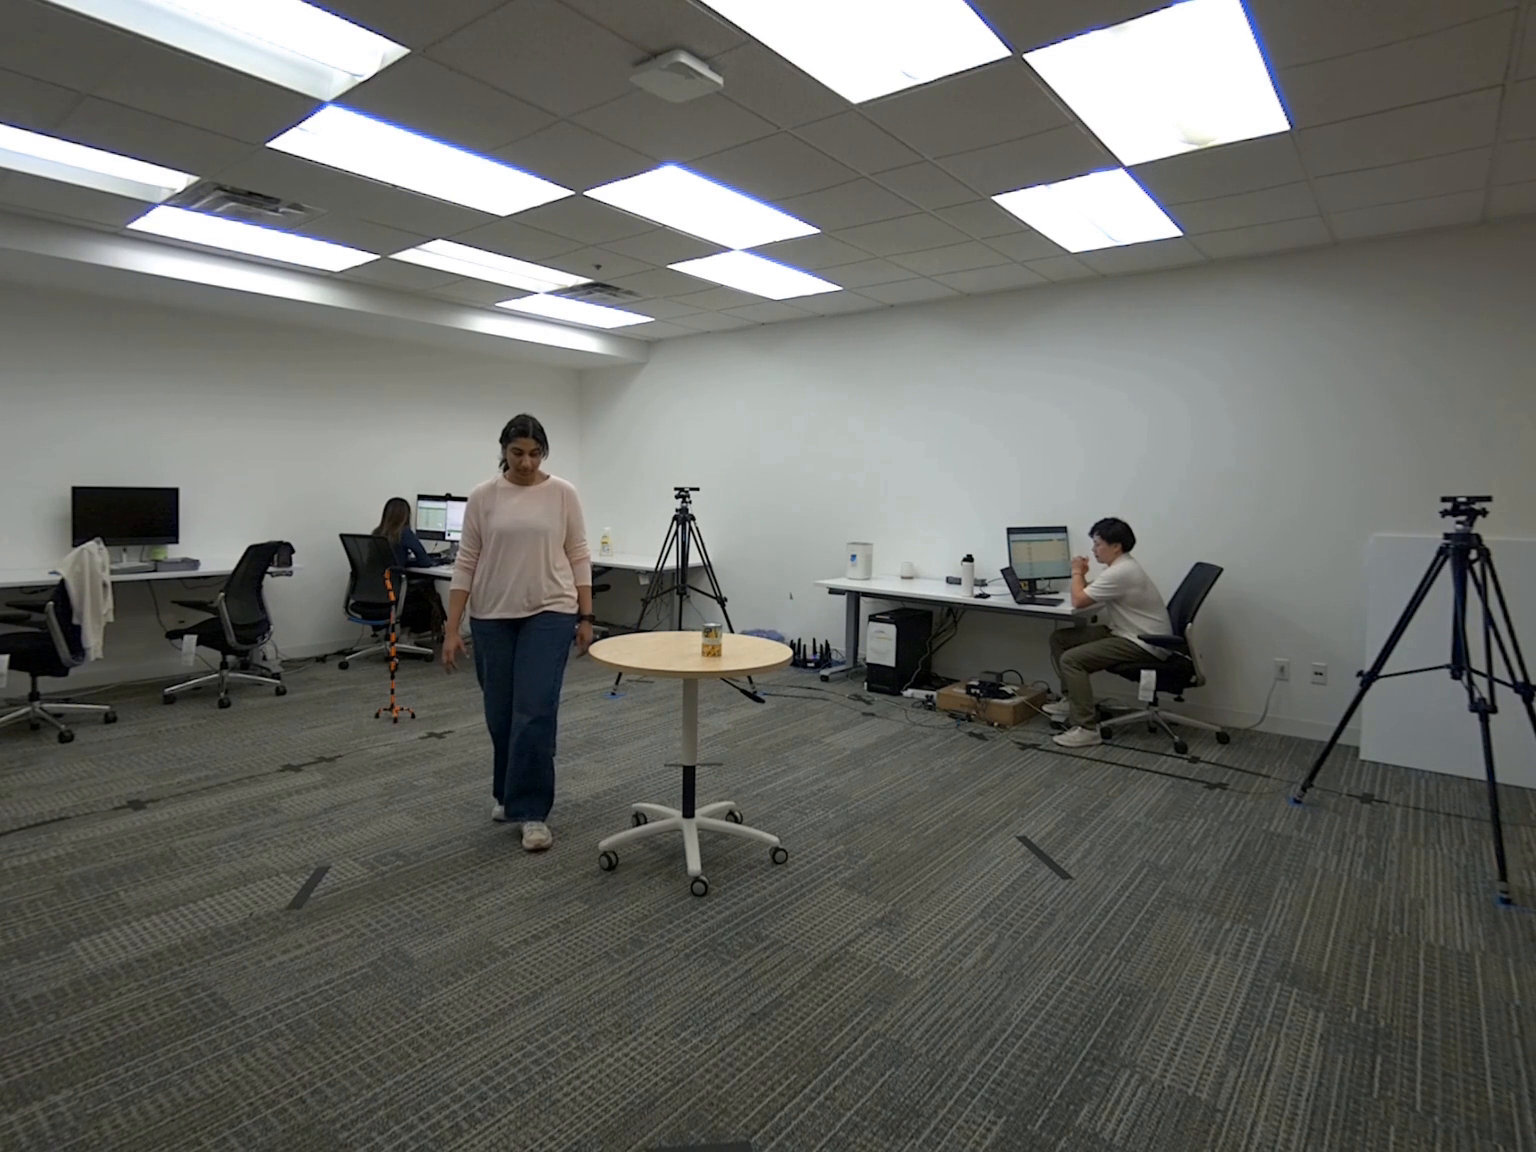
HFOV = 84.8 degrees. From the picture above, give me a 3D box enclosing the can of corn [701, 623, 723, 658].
[{"bbox_3d":[-0.209,0.231,3.089,0.074,0.111,0.074,1,2,-2],"label":"can of corn"}]
